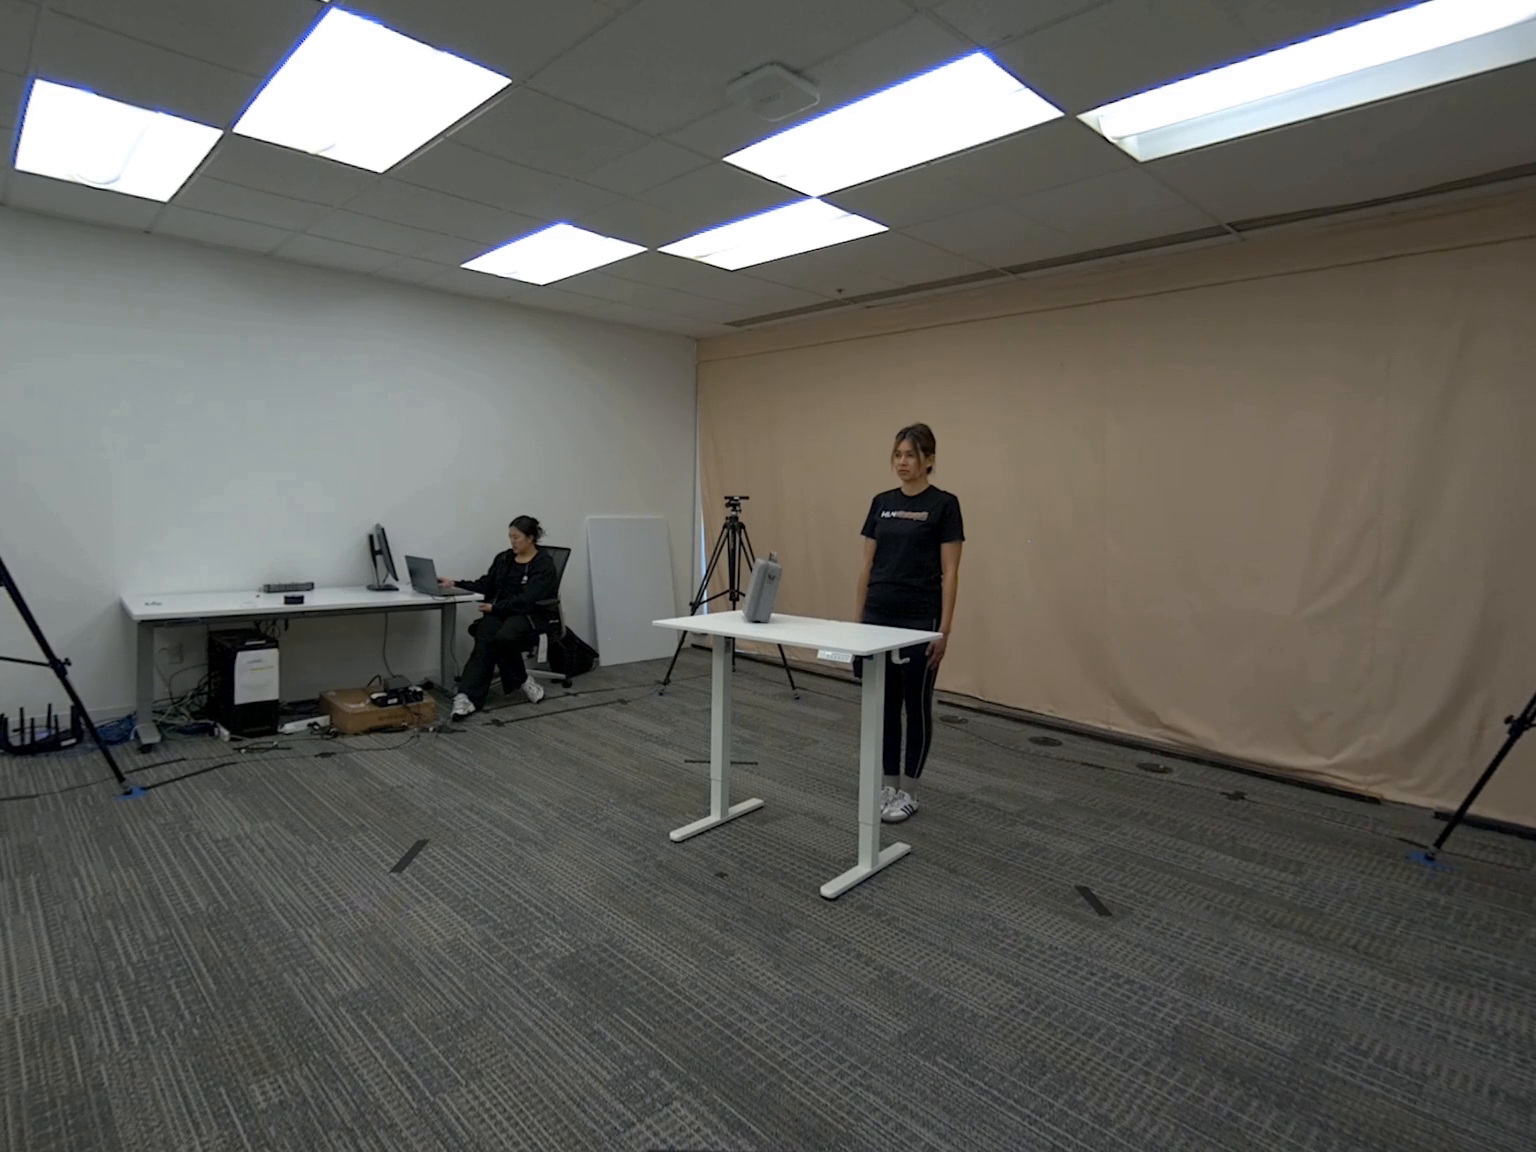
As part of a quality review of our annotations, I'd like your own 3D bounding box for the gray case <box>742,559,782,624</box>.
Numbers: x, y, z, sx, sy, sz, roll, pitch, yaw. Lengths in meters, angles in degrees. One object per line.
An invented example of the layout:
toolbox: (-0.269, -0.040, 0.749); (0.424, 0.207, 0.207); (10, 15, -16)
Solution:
gray case: (-0.051, 0.057, 3.557); (0.104, 0.260, 0.258); (12, 2, -7)
